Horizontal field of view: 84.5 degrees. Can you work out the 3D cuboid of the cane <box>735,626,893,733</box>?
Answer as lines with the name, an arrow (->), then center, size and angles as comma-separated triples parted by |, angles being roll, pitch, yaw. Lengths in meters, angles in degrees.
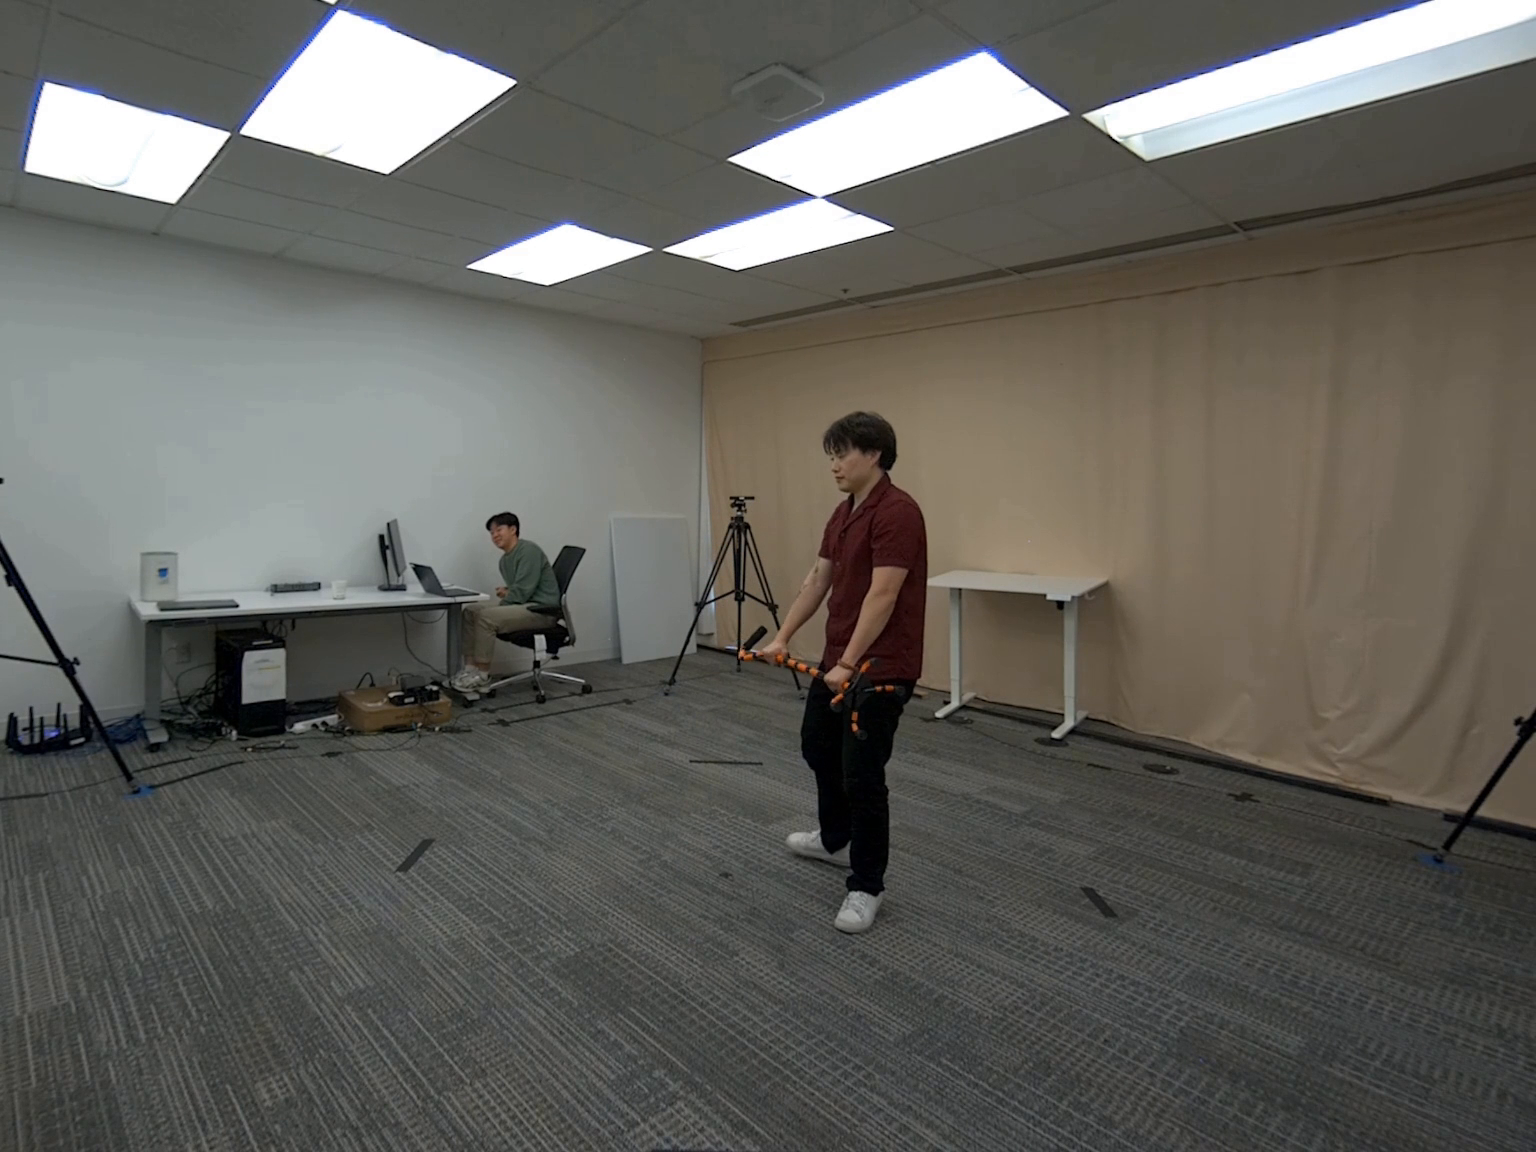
cane -> 0.095, 0.321, 2.870 | 0.206, 0.149, 0.925 | -45, 19, -13
